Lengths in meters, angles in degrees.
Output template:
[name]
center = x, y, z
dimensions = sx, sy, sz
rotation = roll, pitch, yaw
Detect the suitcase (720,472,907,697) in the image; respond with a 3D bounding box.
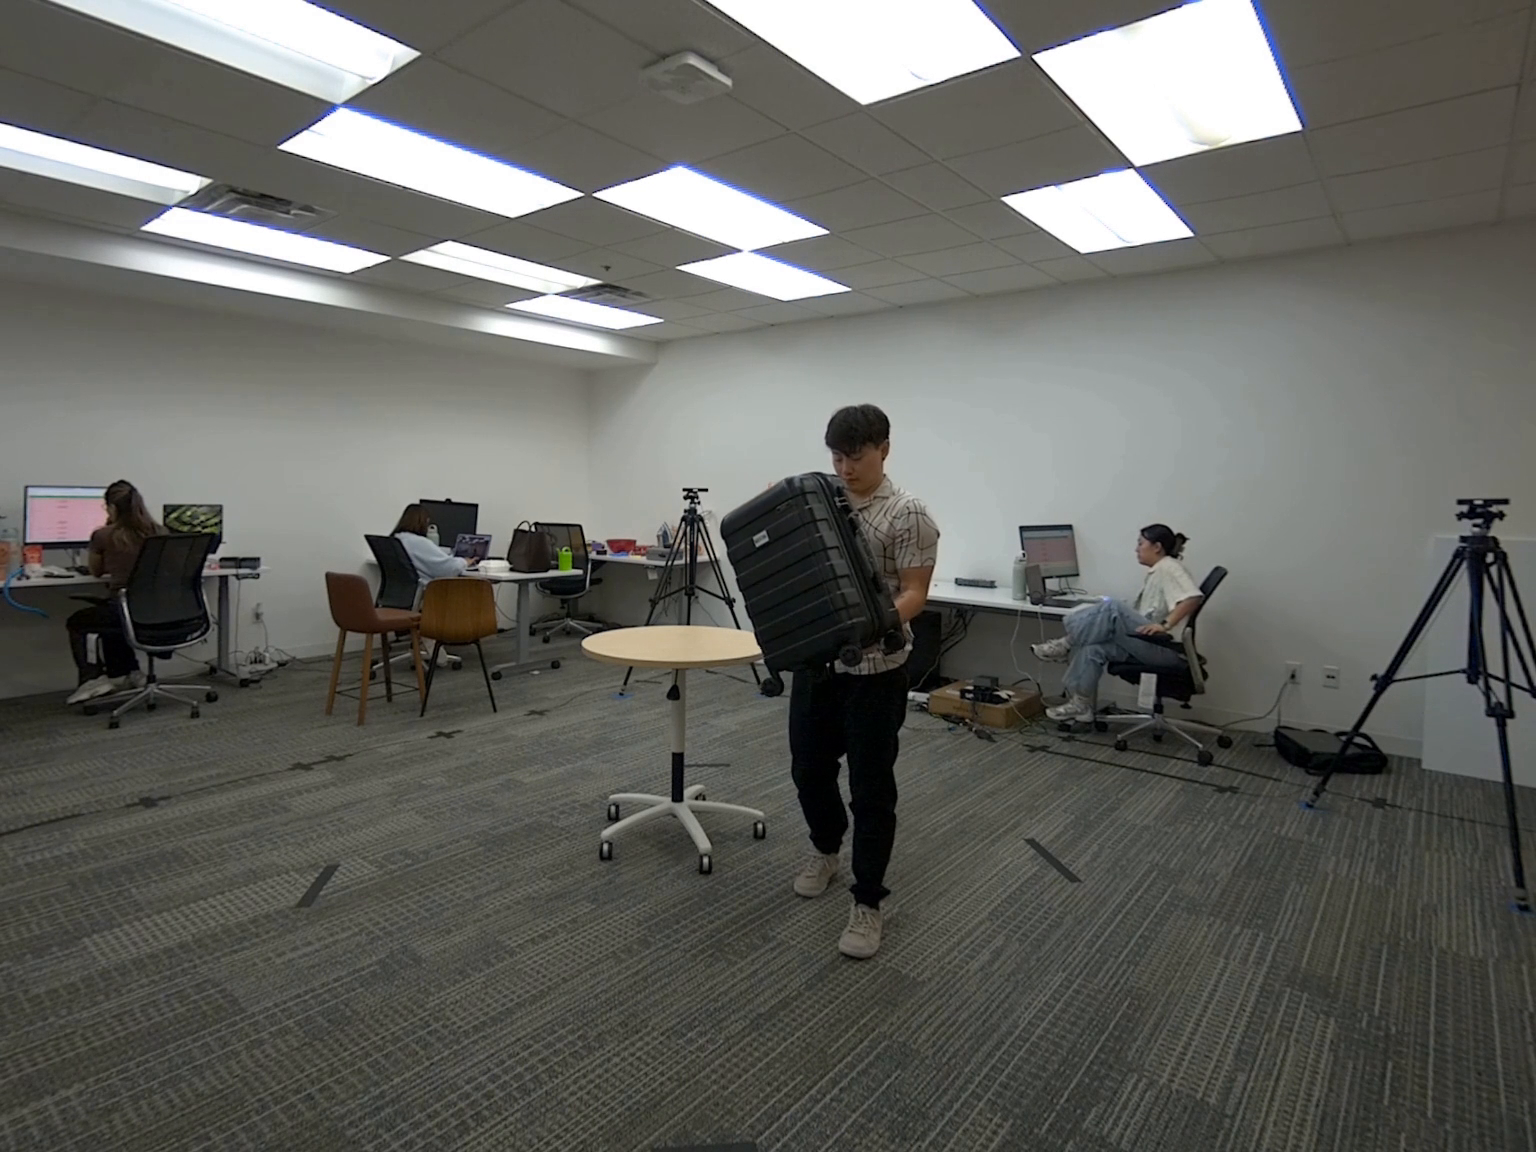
[suitcase]
center = 0.104, -0.001, 2.384
dimensions = 0.380, 0.558, 0.241
rotation = -29, -15, 39
